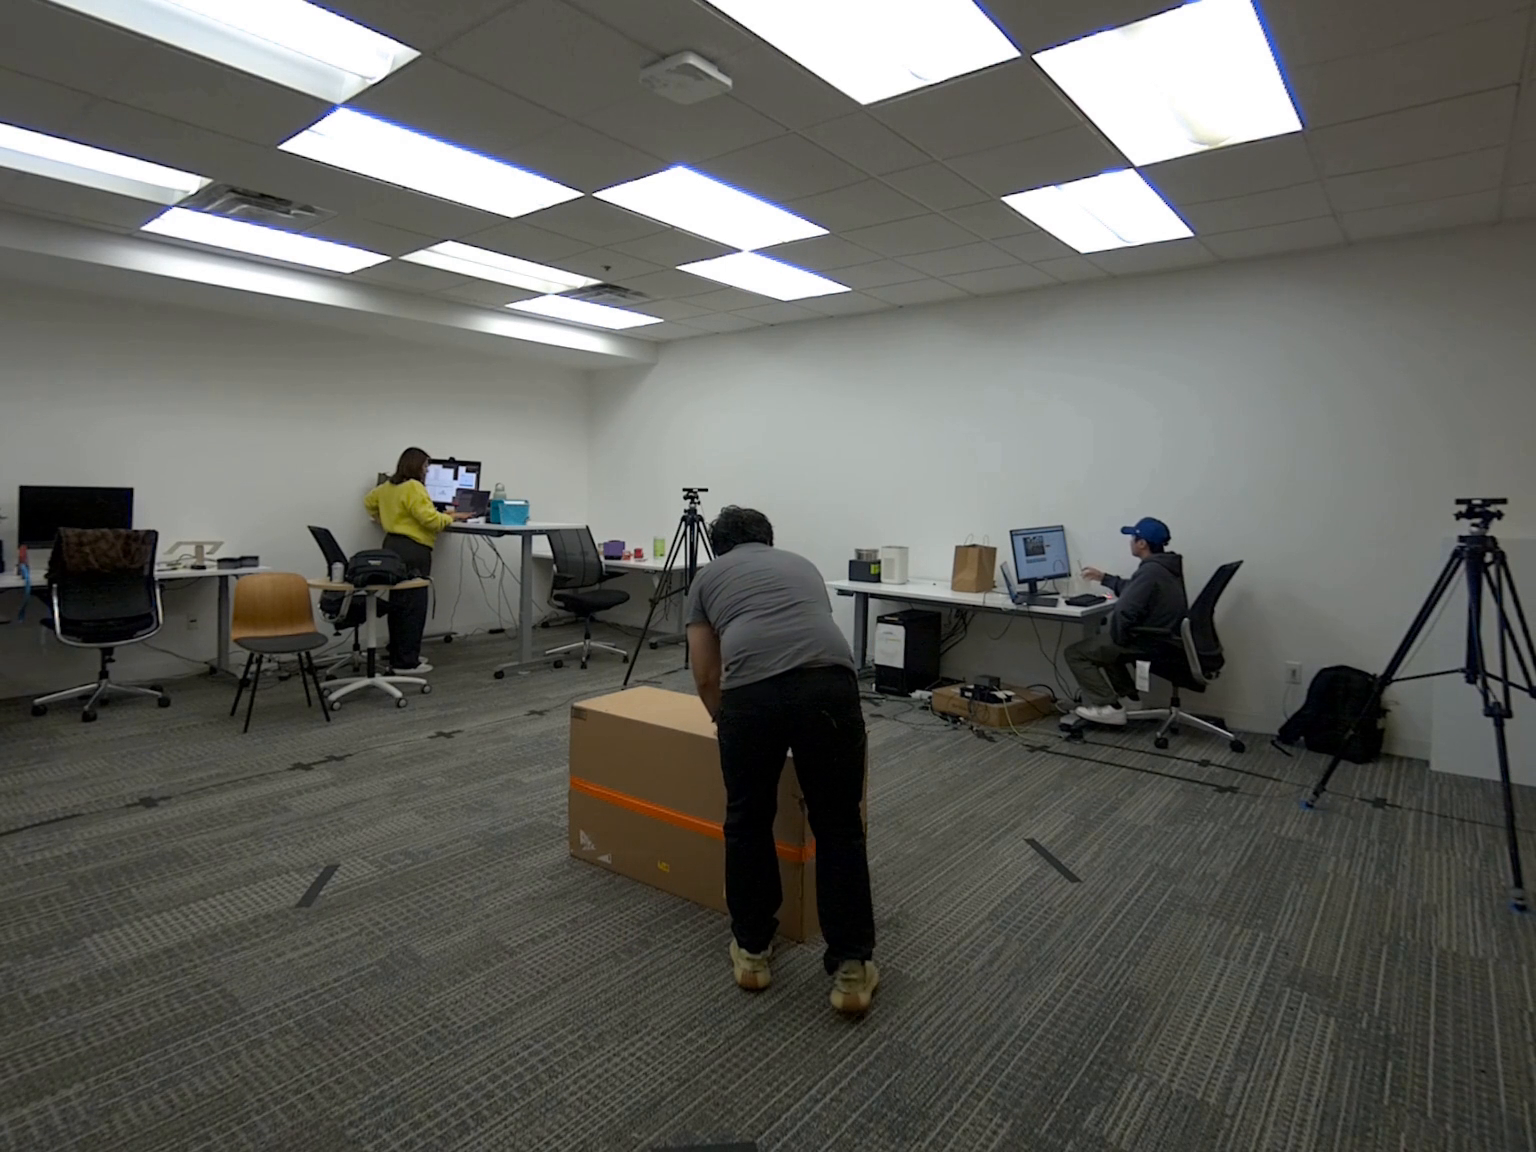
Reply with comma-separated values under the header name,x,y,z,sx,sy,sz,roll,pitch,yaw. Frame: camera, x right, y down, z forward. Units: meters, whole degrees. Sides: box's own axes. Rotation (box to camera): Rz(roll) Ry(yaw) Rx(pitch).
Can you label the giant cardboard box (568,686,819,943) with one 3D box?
name,x,y,z,sx,sy,sz,roll,pitch,yaw
giant cardboard box,-0.217,0.786,3.054,1.059,0.575,0.414,5,6,35
